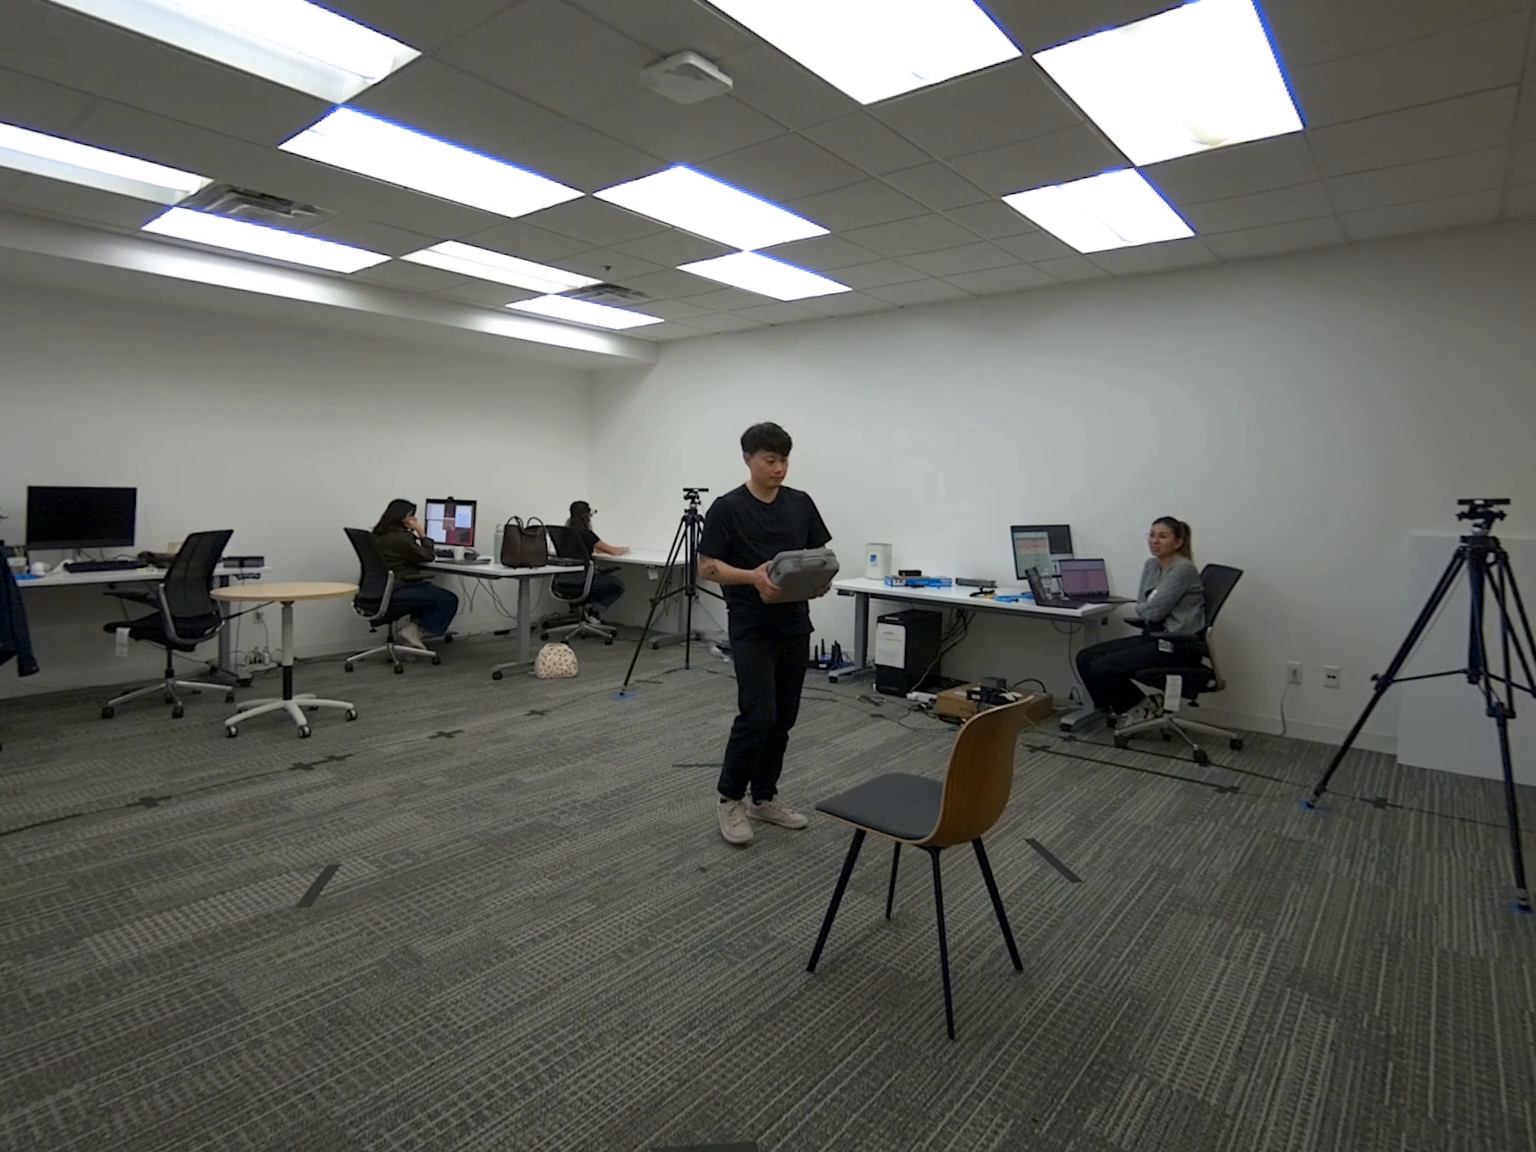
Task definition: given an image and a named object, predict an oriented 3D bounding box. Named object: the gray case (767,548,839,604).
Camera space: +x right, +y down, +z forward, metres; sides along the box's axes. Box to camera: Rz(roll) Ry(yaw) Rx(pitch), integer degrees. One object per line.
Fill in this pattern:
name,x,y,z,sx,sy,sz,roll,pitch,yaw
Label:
gray case,0.108,-0.007,3.307,0.251,0.107,0.258,-3,-30,-24
